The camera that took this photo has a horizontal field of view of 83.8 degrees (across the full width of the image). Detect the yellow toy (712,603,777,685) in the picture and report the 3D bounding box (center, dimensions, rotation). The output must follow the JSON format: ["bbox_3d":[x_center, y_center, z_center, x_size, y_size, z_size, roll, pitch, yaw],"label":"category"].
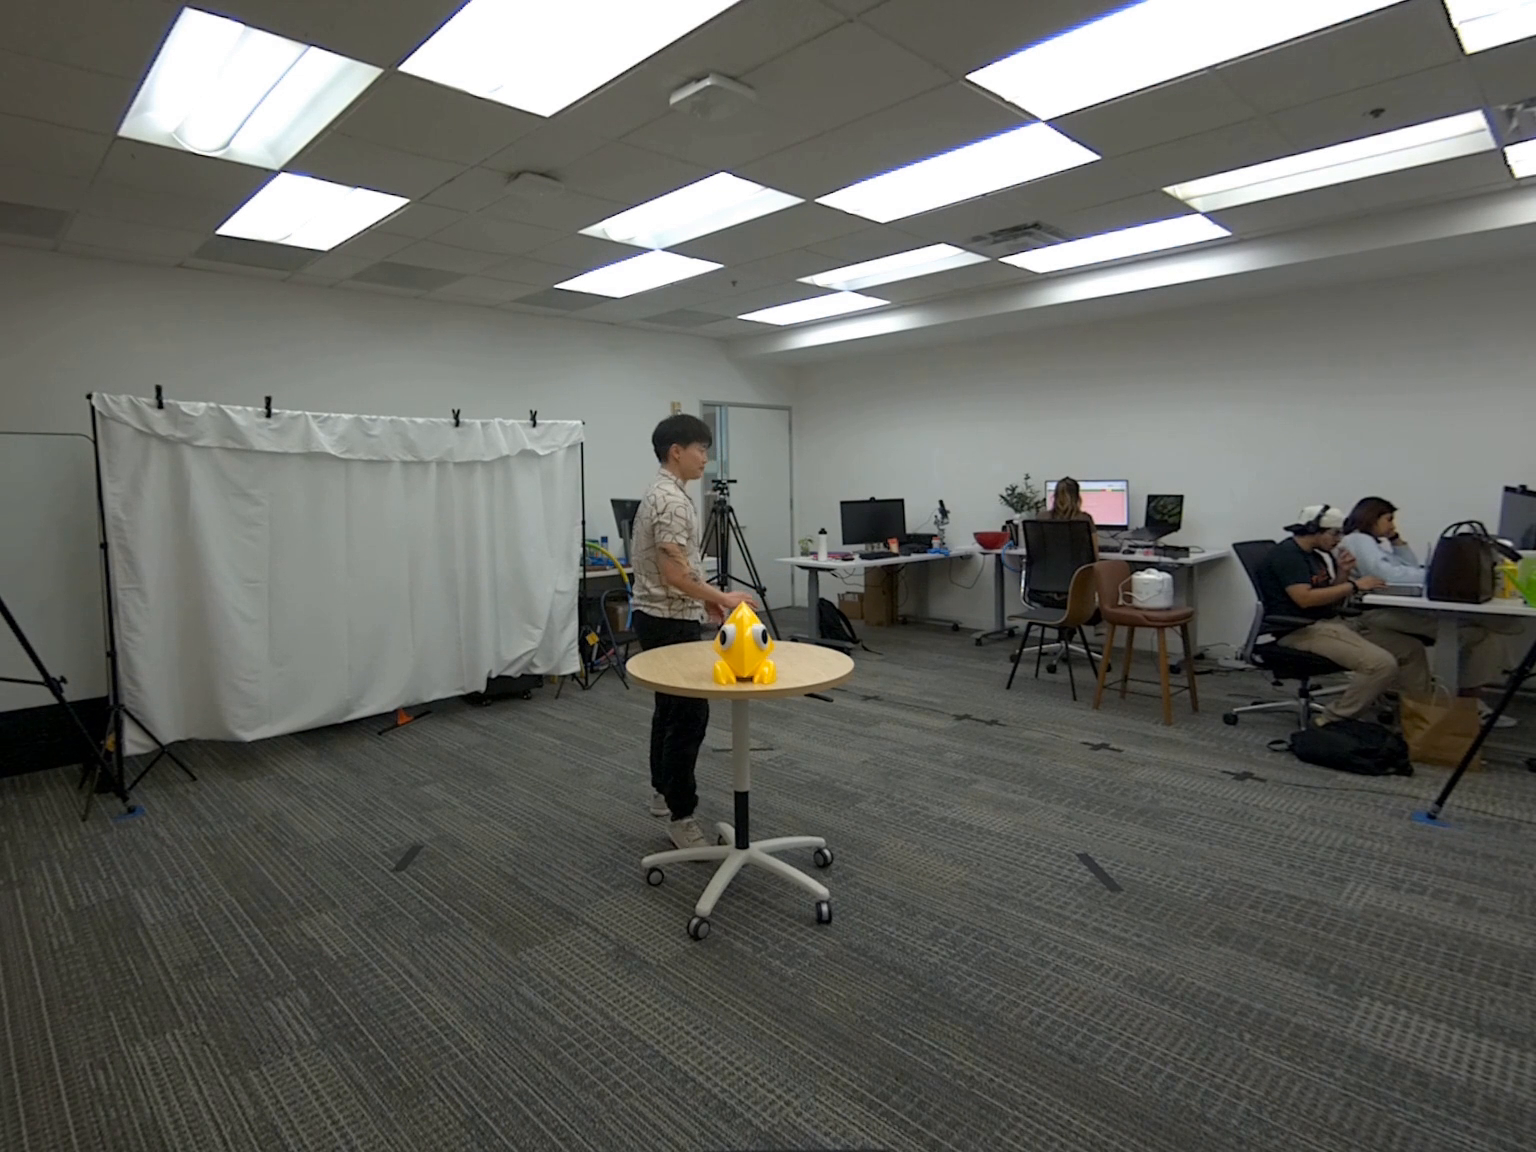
[{"bbox_3d":[-0.070,0.202,2.652,0.204,0.230,0.194,-1,4,-2],"label":"yellow toy"}]
